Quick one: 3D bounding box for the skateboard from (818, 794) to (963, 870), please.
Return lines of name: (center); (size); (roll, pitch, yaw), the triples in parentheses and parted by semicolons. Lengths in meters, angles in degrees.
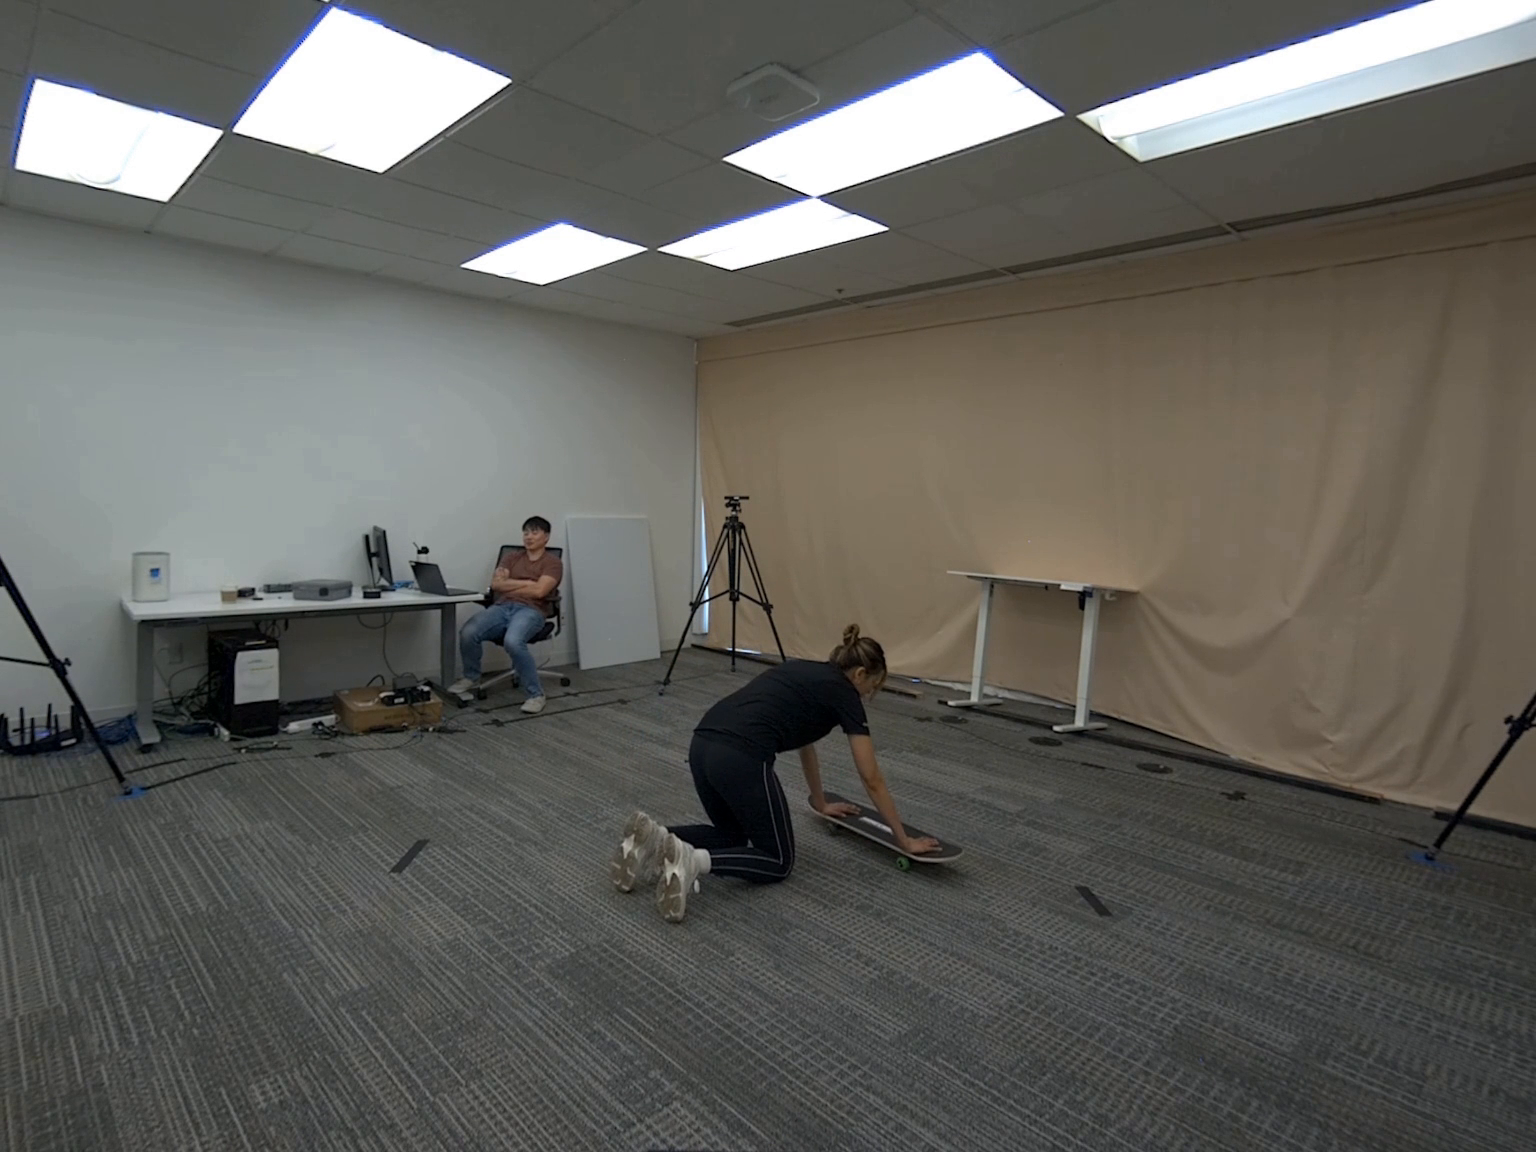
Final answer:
skateboard: (0.435, 1.033, 3.386); (0.189, 0.110, 0.805); (-4, 7, -36)
